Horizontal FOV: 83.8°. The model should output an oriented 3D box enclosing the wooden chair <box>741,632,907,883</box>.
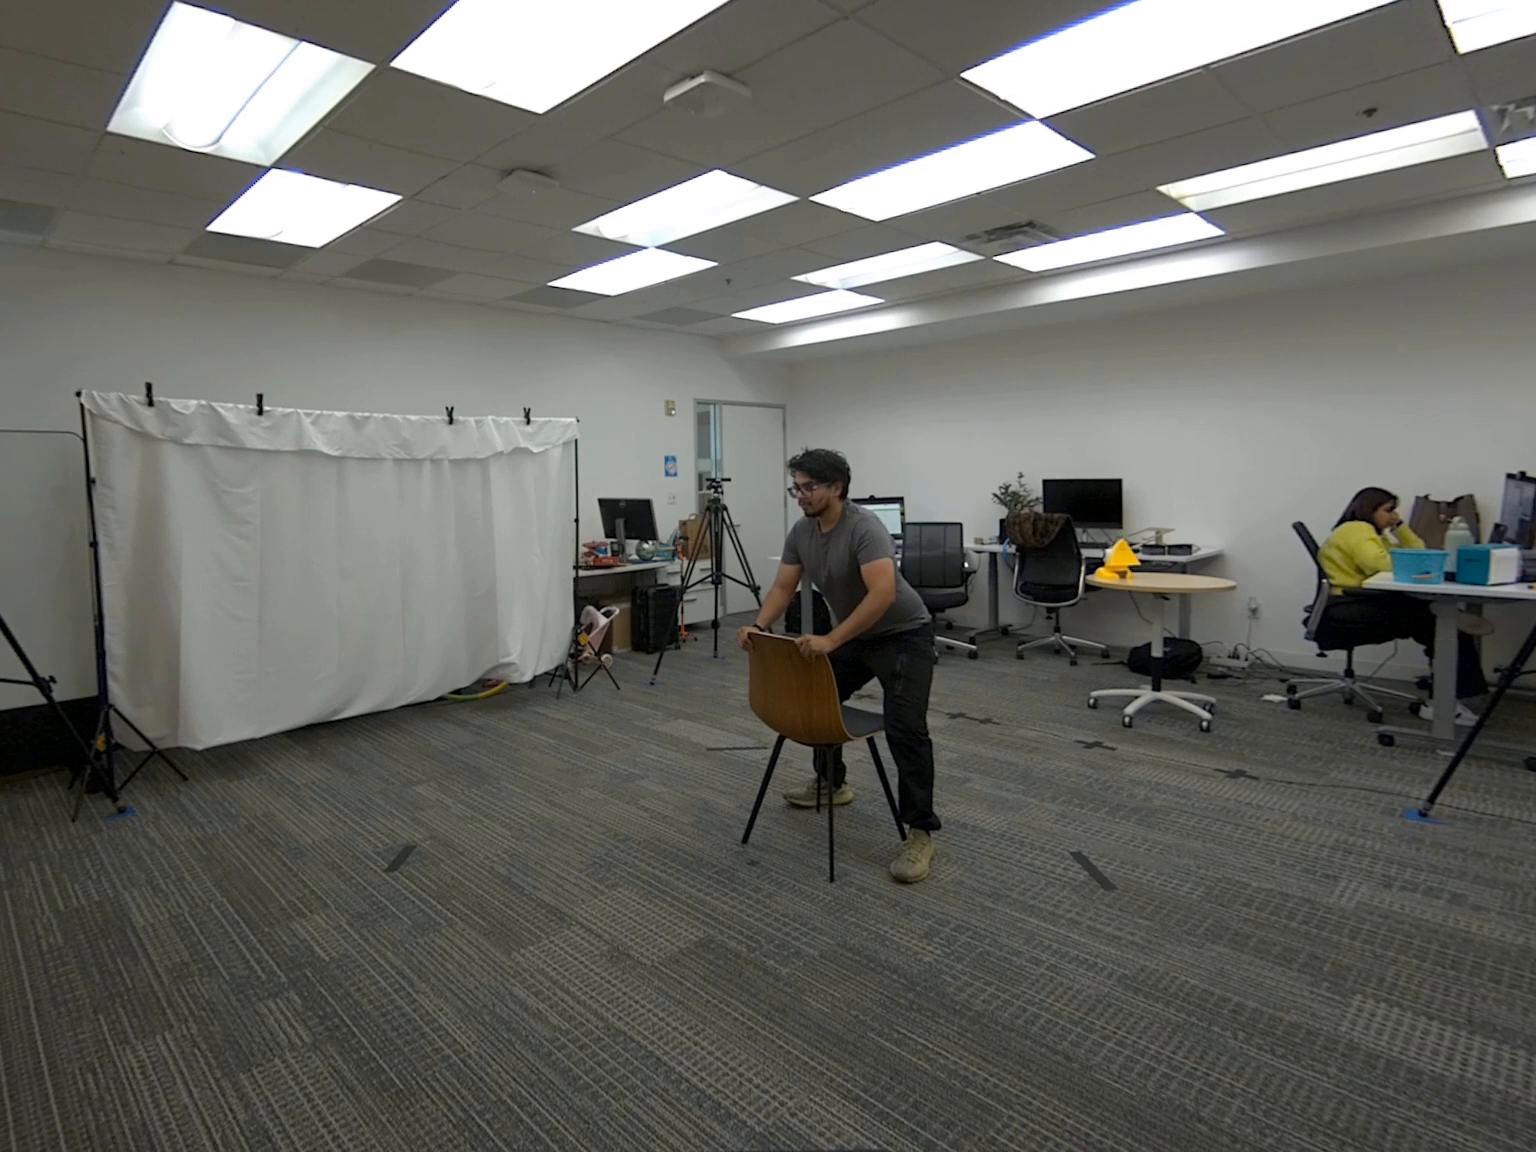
[{"bbox_3d":[0.214,0.595,3.226,0.511,0.871,0.493,-11,10,-44],"label":"wooden chair"}]
